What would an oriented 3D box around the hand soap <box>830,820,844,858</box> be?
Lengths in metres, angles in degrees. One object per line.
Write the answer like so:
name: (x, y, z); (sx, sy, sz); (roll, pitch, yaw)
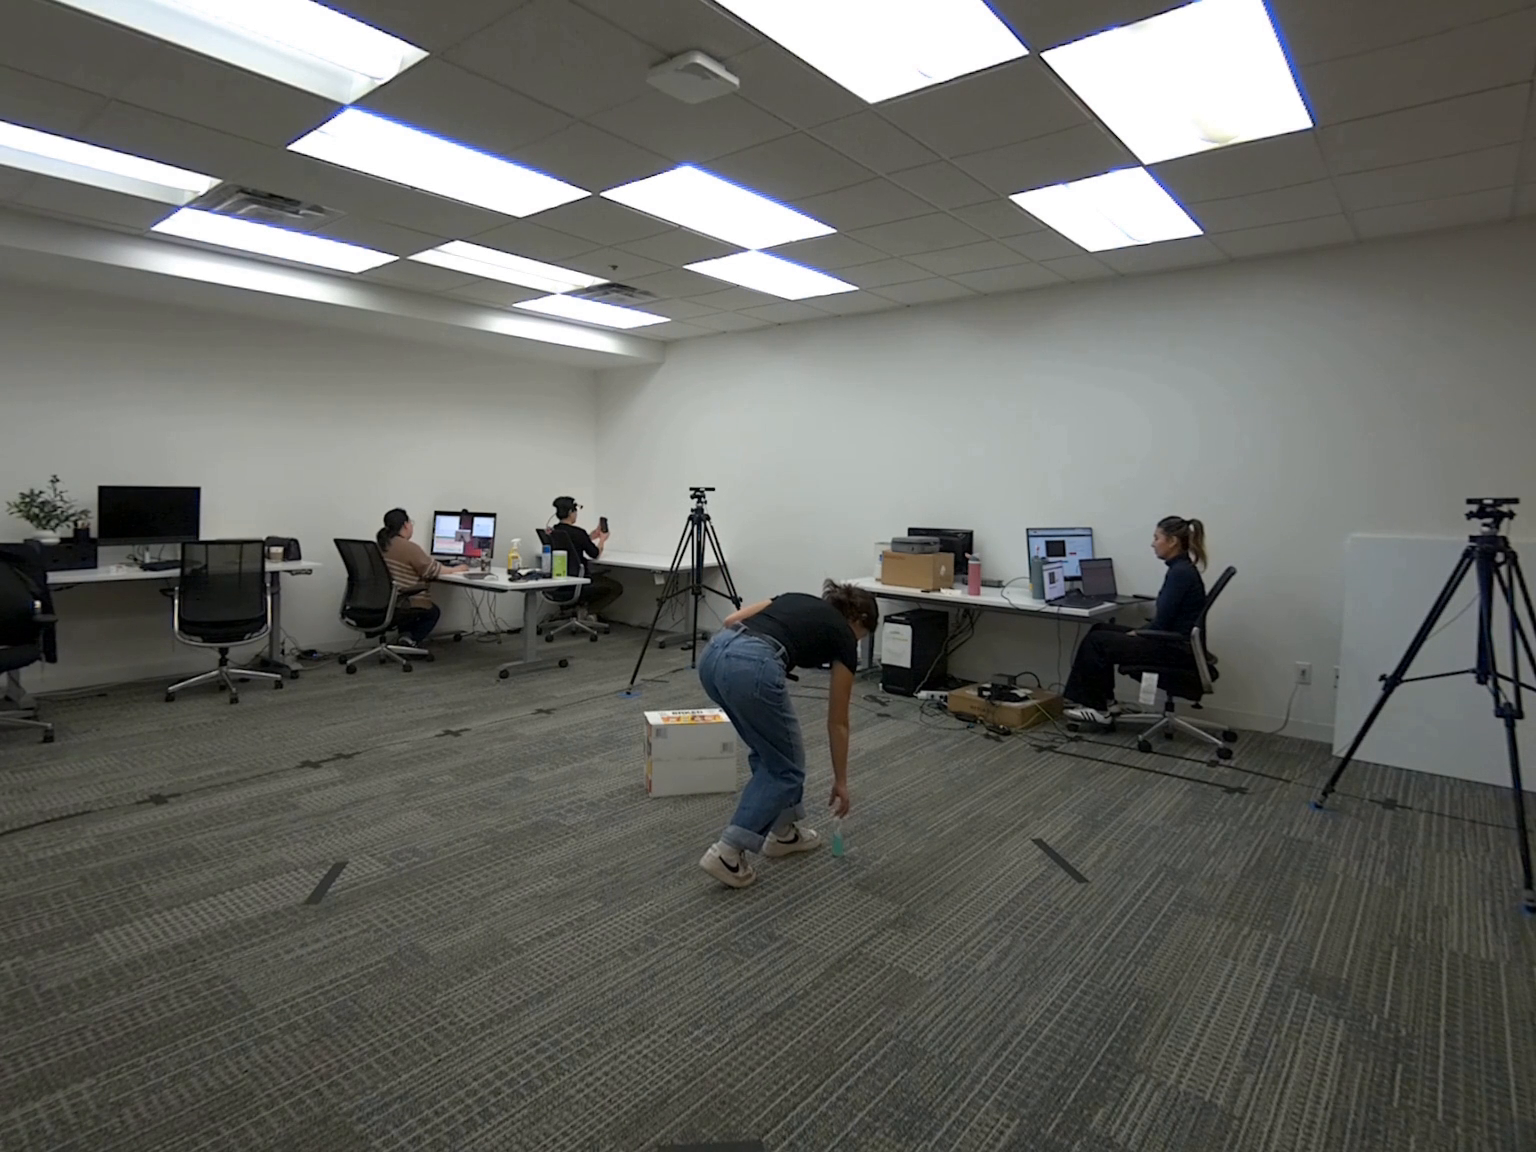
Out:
hand soap: (0.259, 0.979, 3.259); (0.043, 0.168, 0.085); (-4, 2, -1)
